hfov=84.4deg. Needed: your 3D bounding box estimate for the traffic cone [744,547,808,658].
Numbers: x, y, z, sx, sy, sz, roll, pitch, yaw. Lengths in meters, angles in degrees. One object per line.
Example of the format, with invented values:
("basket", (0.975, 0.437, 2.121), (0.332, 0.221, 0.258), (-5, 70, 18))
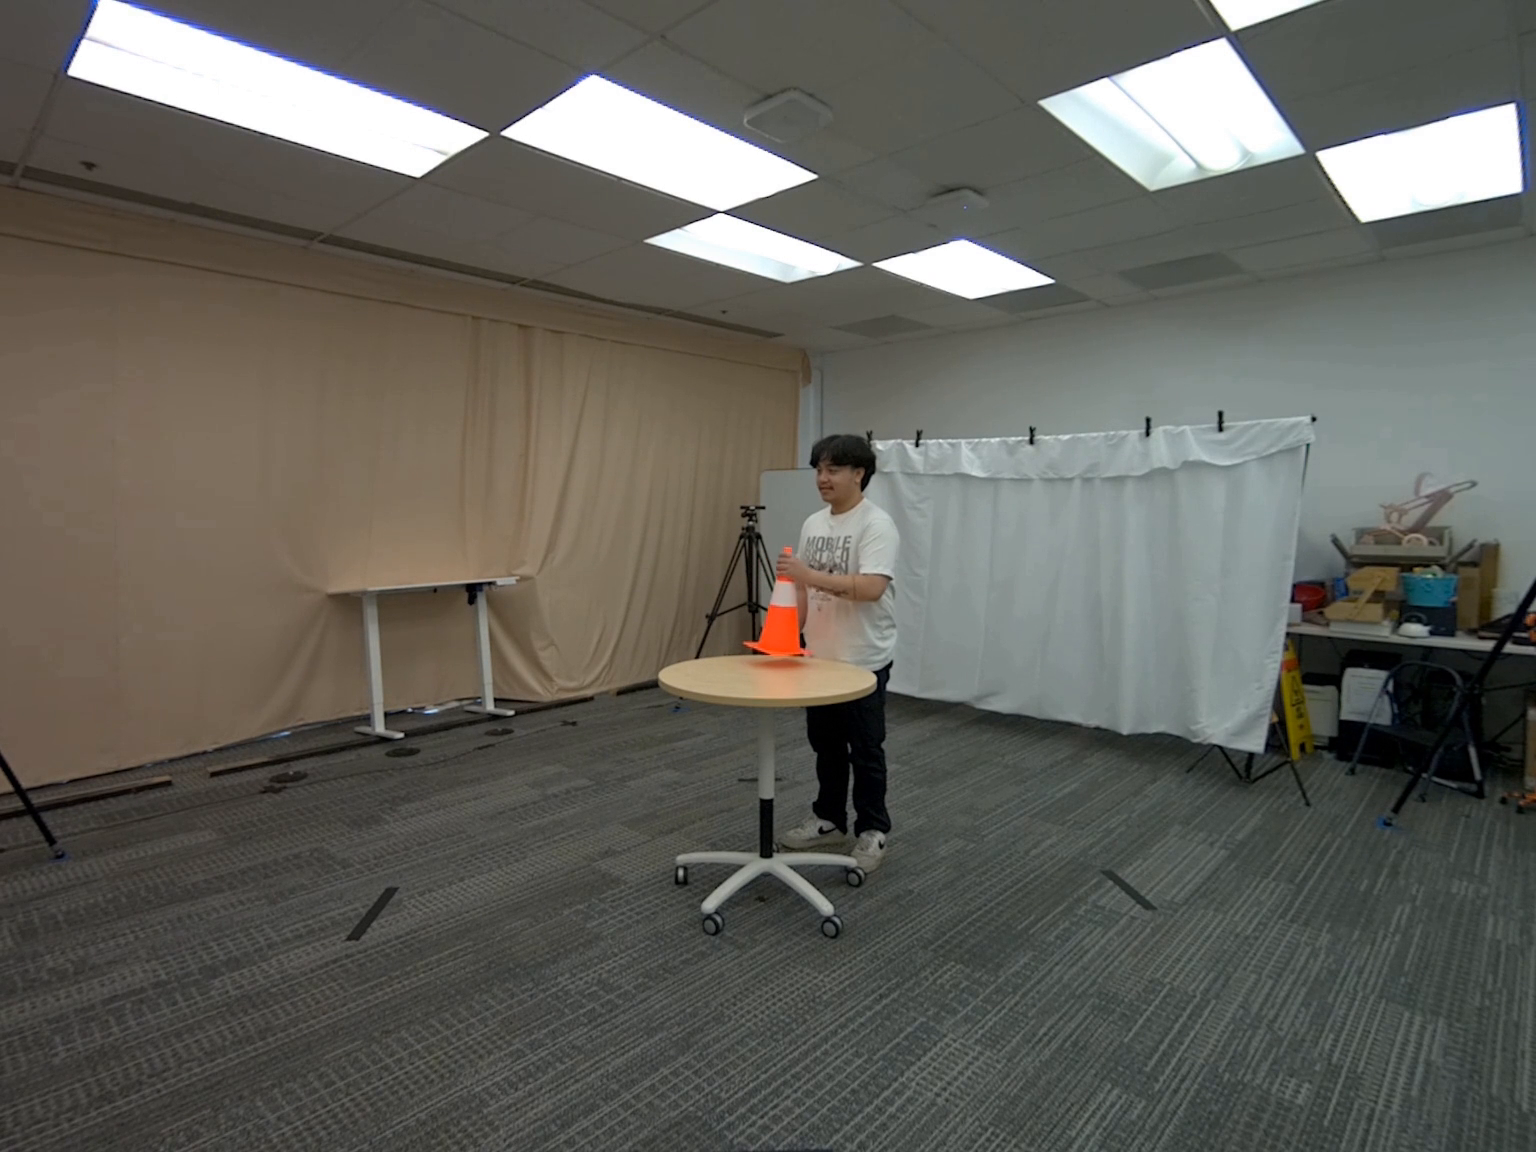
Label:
("traffic cone", (0.064, 0.091, 3.145), (0.197, 0.383, 0.212), (3, 4, -44))
